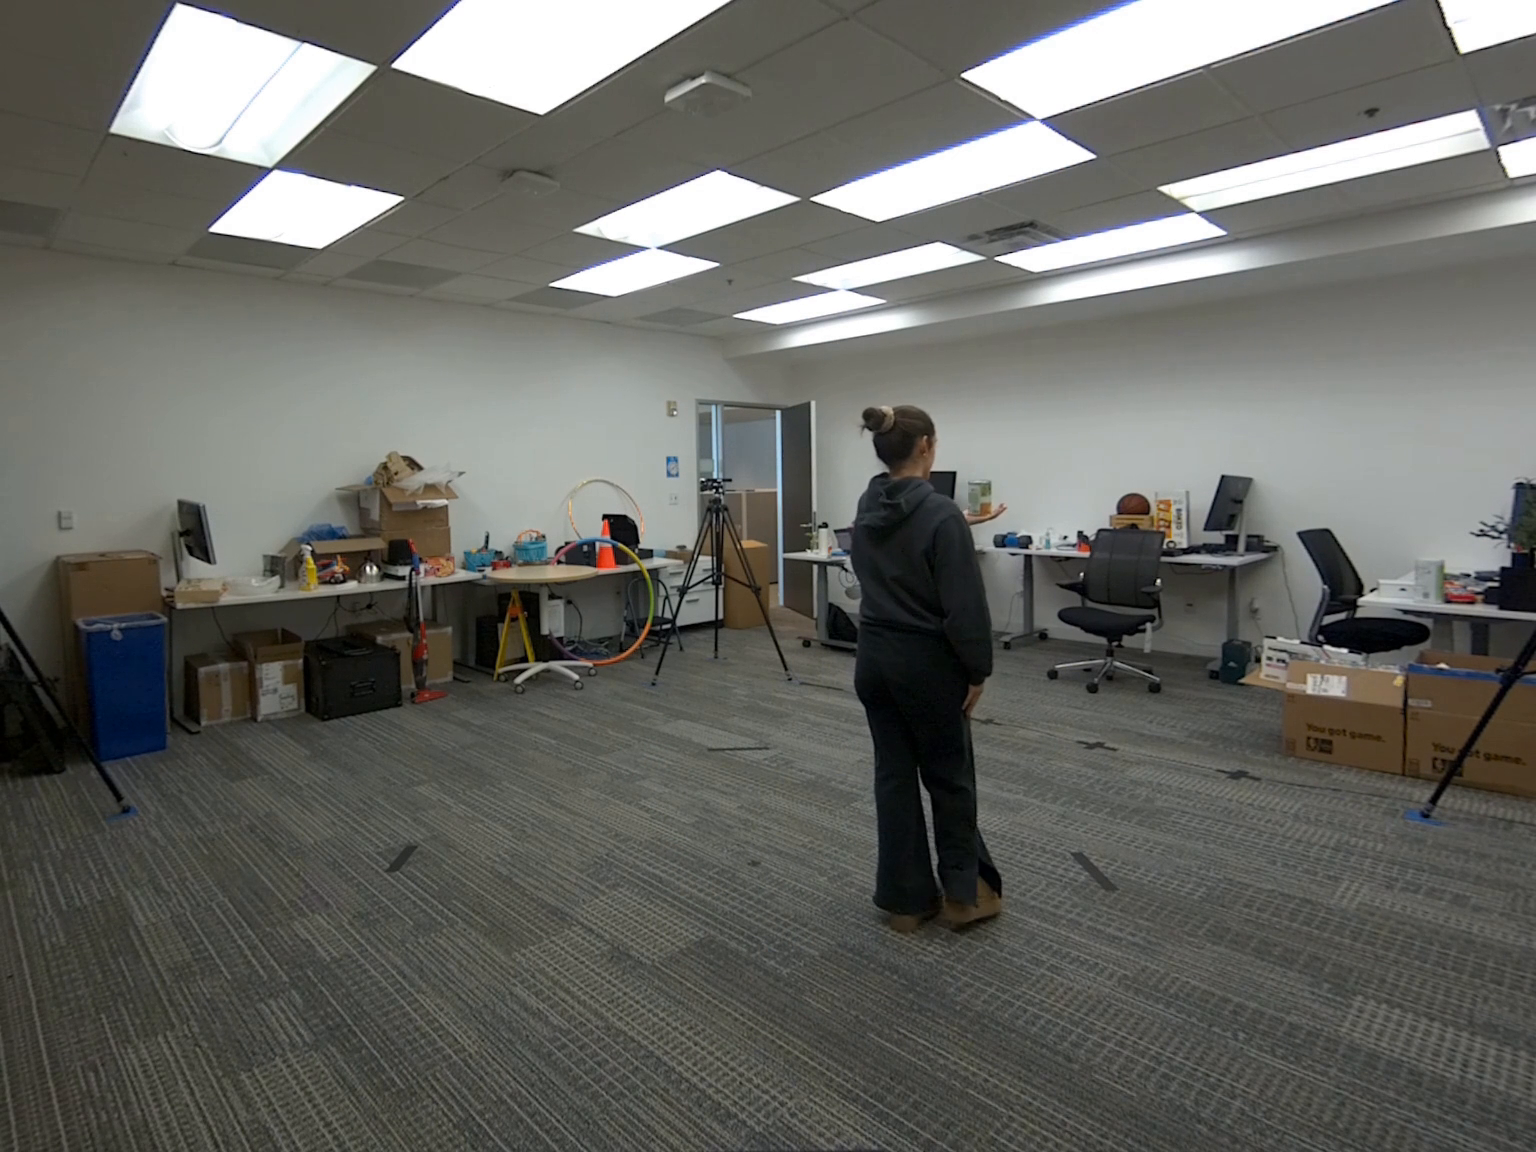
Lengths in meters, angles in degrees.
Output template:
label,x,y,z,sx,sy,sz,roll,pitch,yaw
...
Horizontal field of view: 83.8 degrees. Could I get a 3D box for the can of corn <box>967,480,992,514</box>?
label,x,y,z,sx,sy,sz,roll,pitch,yaw
can of corn,0.697,-0.257,2.806,0.074,0.110,0.075,-4,10,-1
